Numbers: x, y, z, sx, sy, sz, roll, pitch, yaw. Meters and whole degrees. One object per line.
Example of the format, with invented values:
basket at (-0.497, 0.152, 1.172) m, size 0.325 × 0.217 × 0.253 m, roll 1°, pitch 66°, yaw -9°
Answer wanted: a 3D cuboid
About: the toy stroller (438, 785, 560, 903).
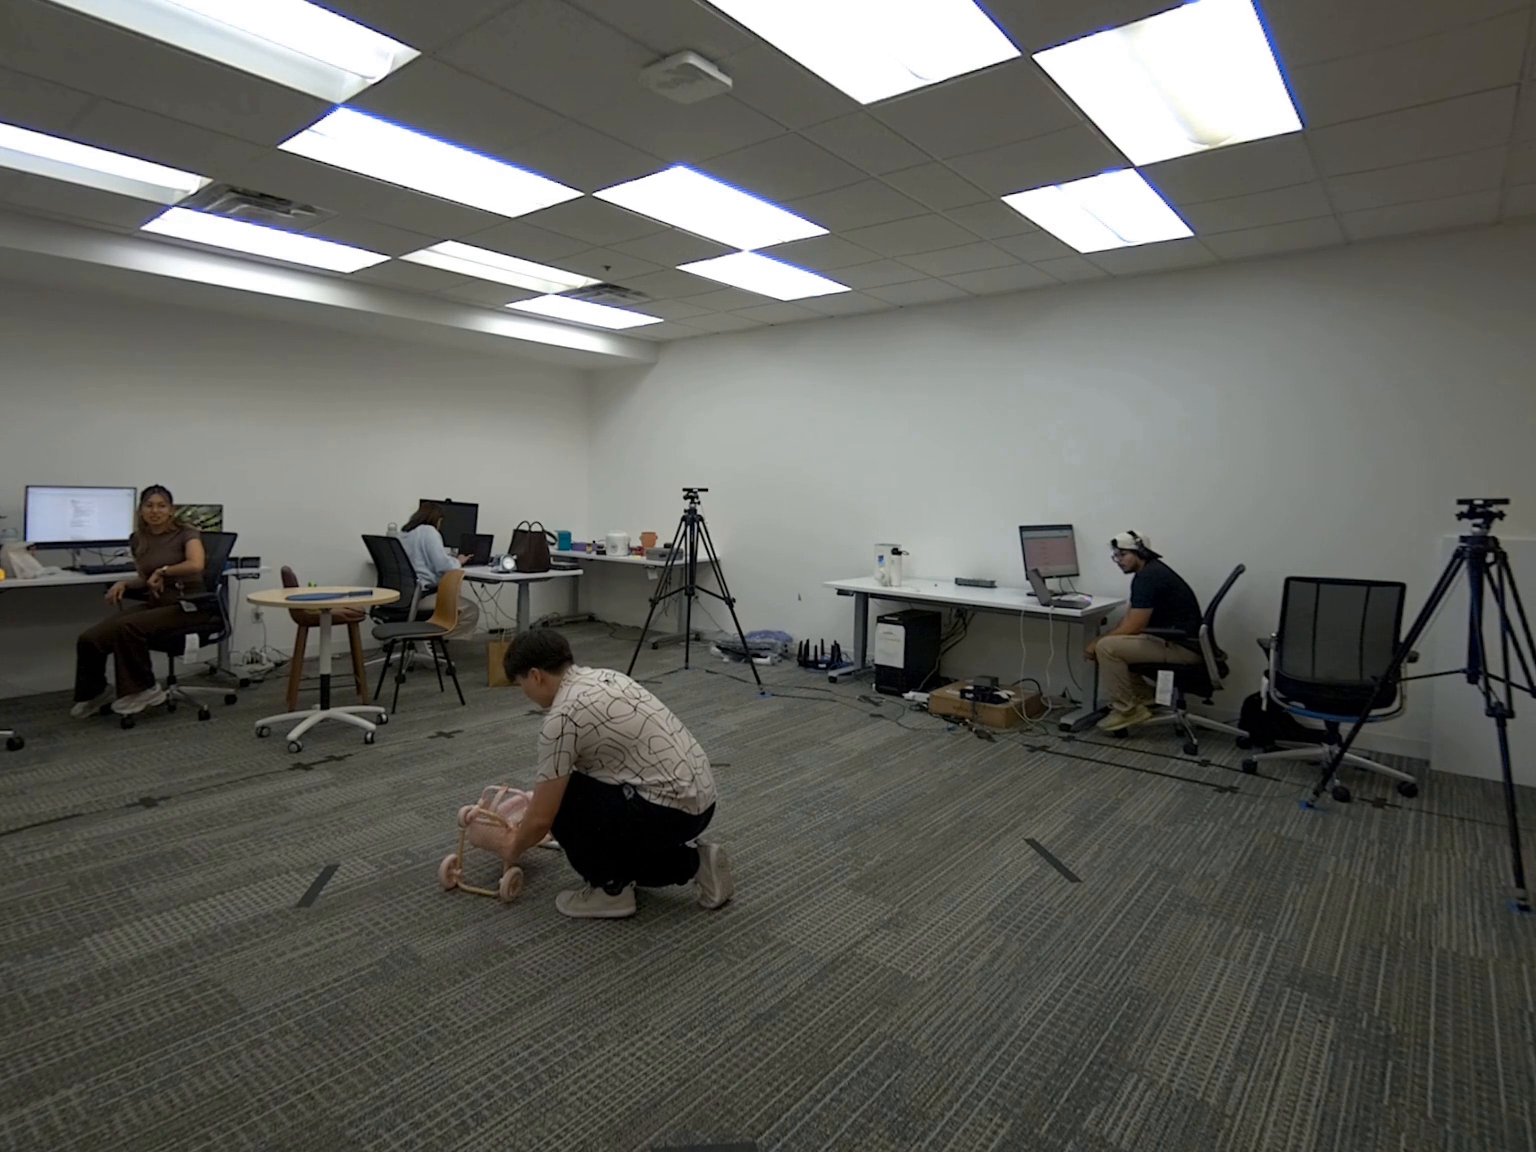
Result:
toy stroller at (-0.952, 0.904, 3.031) m, size 0.287 × 0.340 × 0.526 m, roll -2°, pitch 4°, yaw 20°
